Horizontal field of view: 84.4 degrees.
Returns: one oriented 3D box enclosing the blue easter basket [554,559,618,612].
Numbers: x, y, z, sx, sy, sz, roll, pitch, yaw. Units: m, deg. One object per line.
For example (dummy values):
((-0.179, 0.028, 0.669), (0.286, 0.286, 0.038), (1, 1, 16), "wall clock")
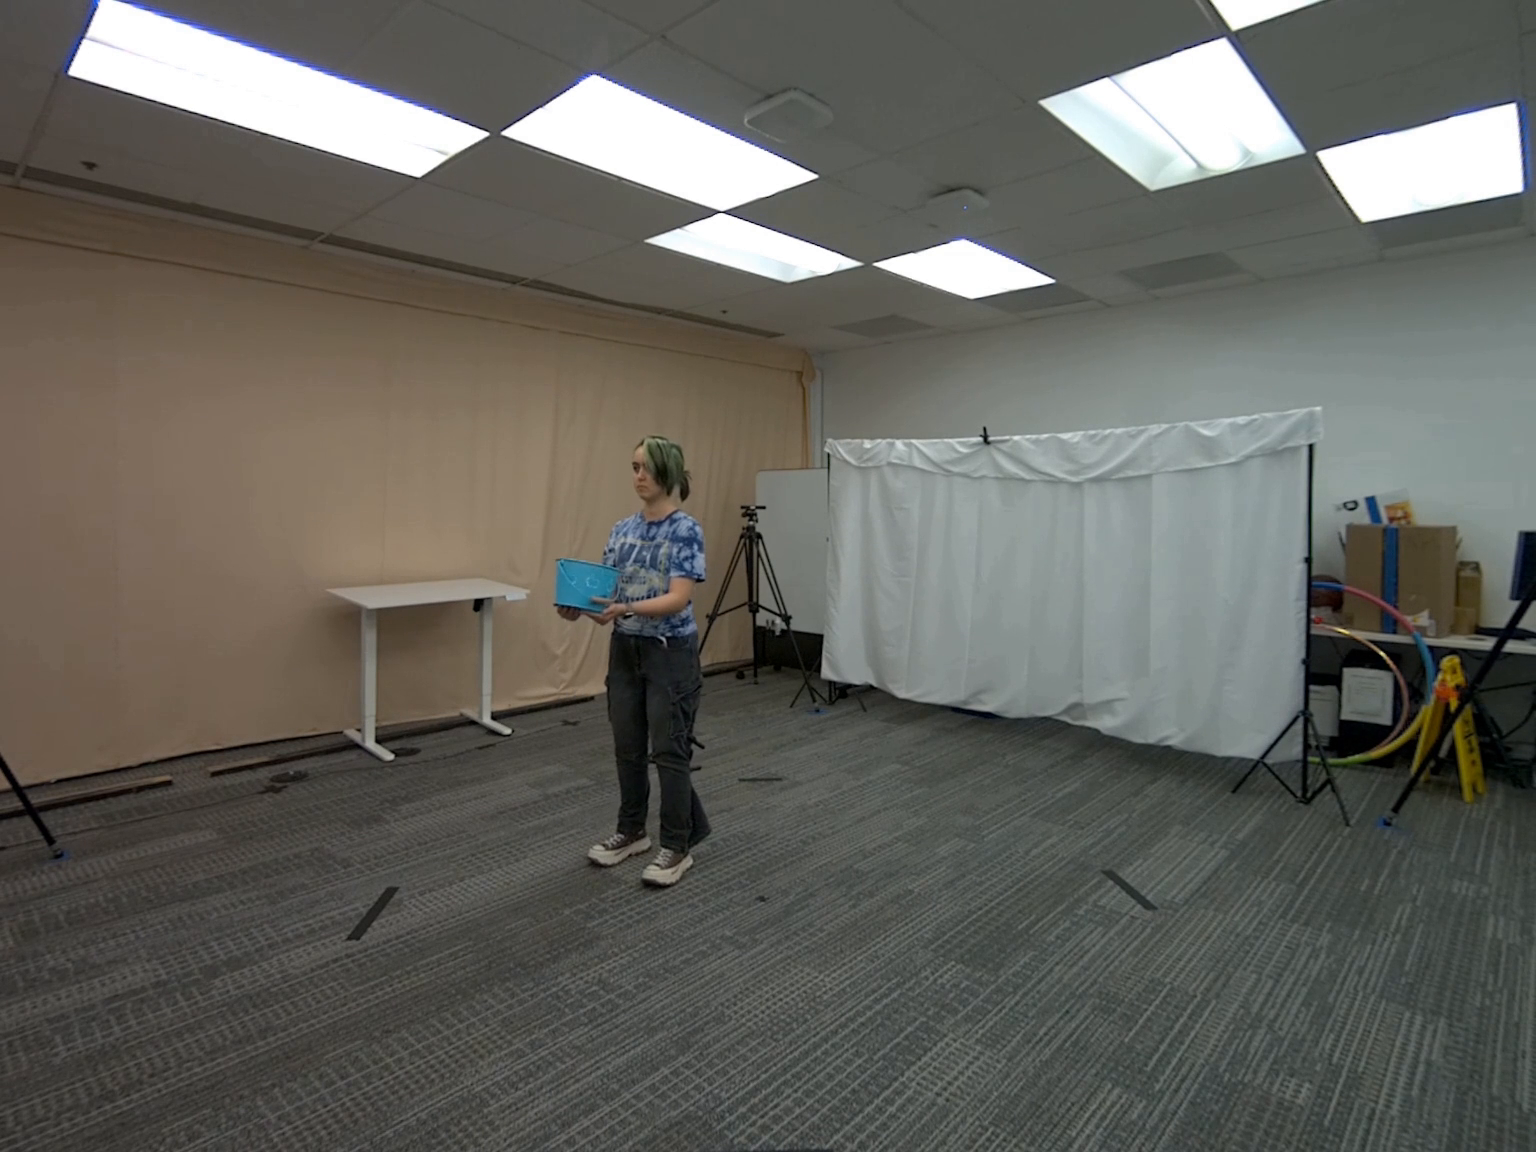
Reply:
((-0.631, 0.039, 2.918), (0.244, 0.156, 0.243), (9, -6, -1), "blue easter basket")
